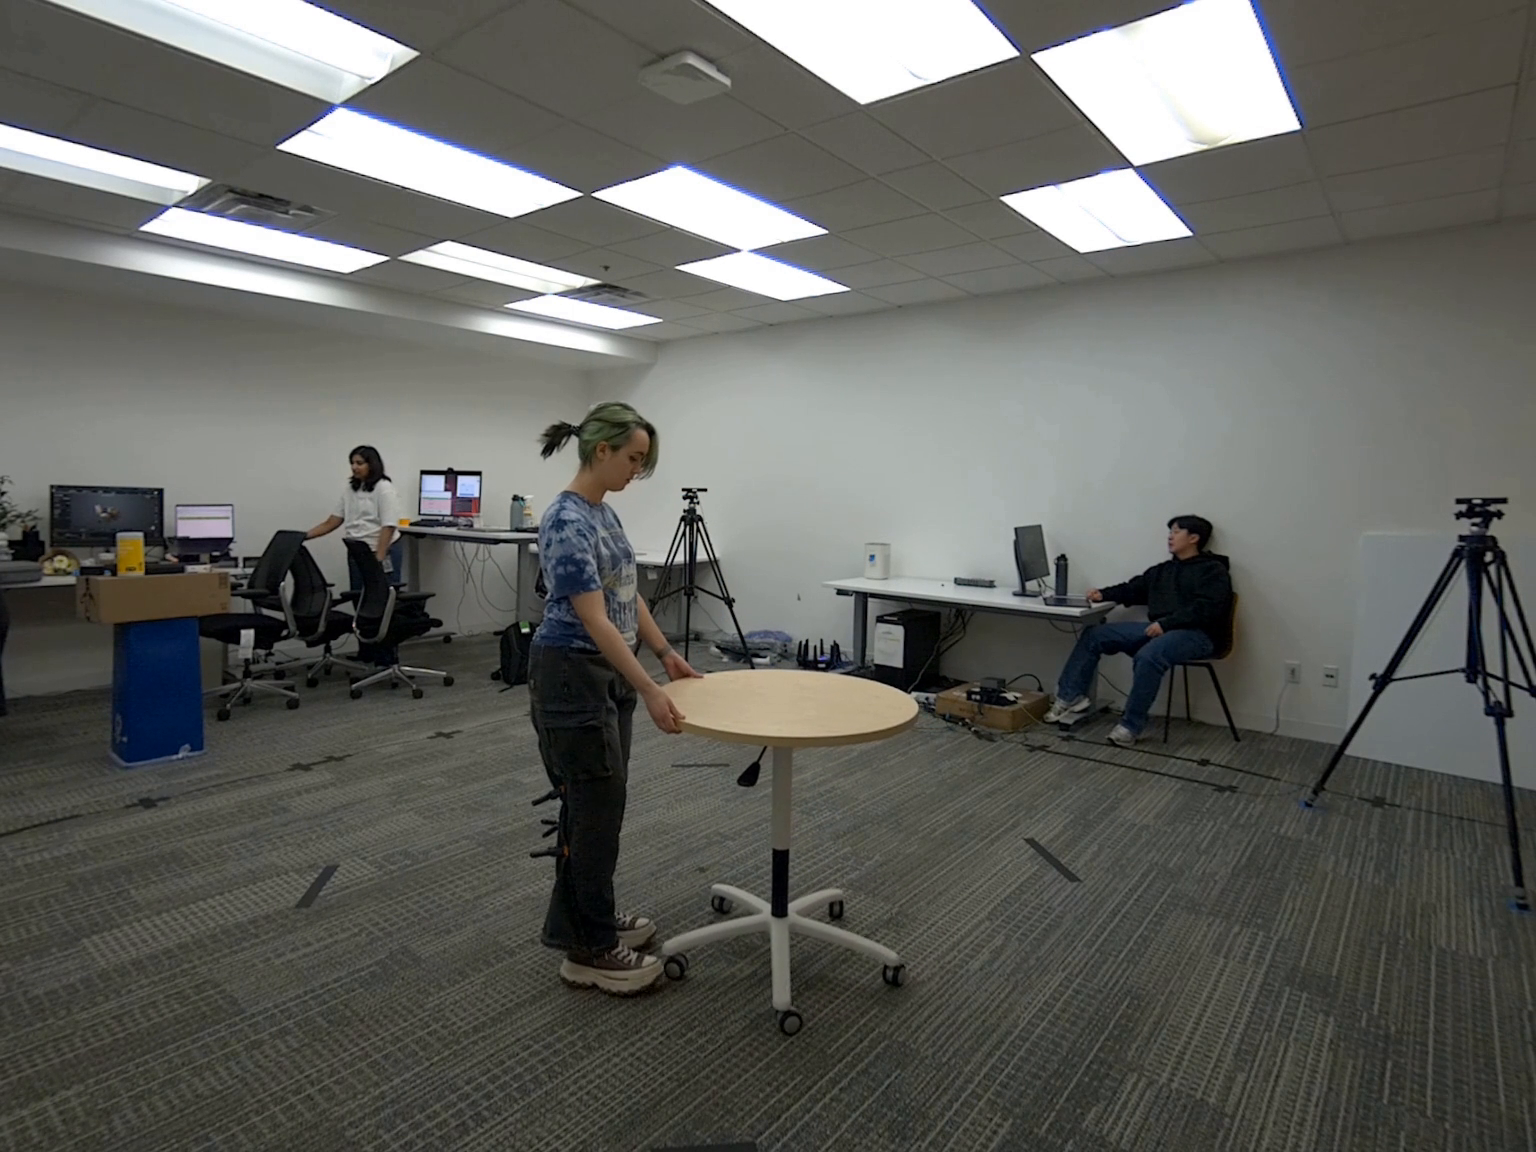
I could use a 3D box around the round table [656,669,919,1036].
[{"bbox_3d":[0.035,0.748,2.503,0.763,0.791,0.768,1,5,-2],"label":"round table"}]
